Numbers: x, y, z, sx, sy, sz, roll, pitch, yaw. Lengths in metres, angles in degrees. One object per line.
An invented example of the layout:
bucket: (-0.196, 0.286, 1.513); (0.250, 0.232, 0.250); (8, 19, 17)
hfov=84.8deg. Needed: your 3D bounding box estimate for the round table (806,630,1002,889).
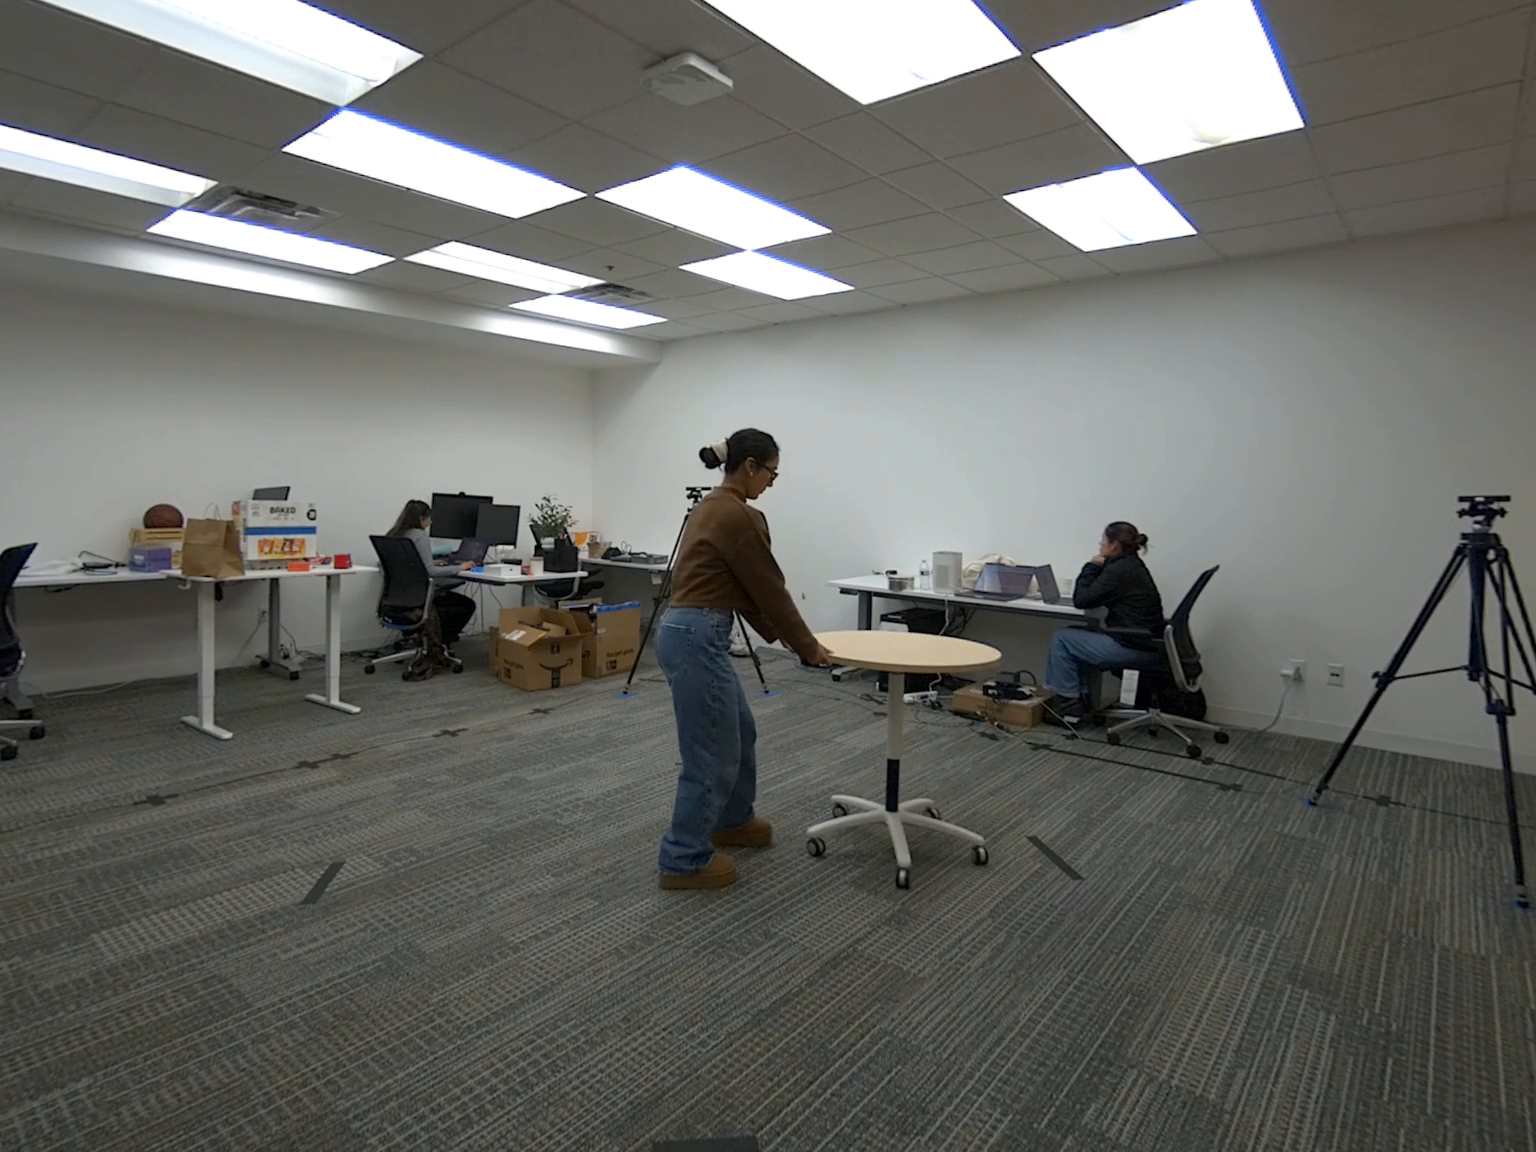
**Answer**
round table: (0.462, 0.663, 3.304); (0.784, 0.784, 0.789); (2, 4, -2)
